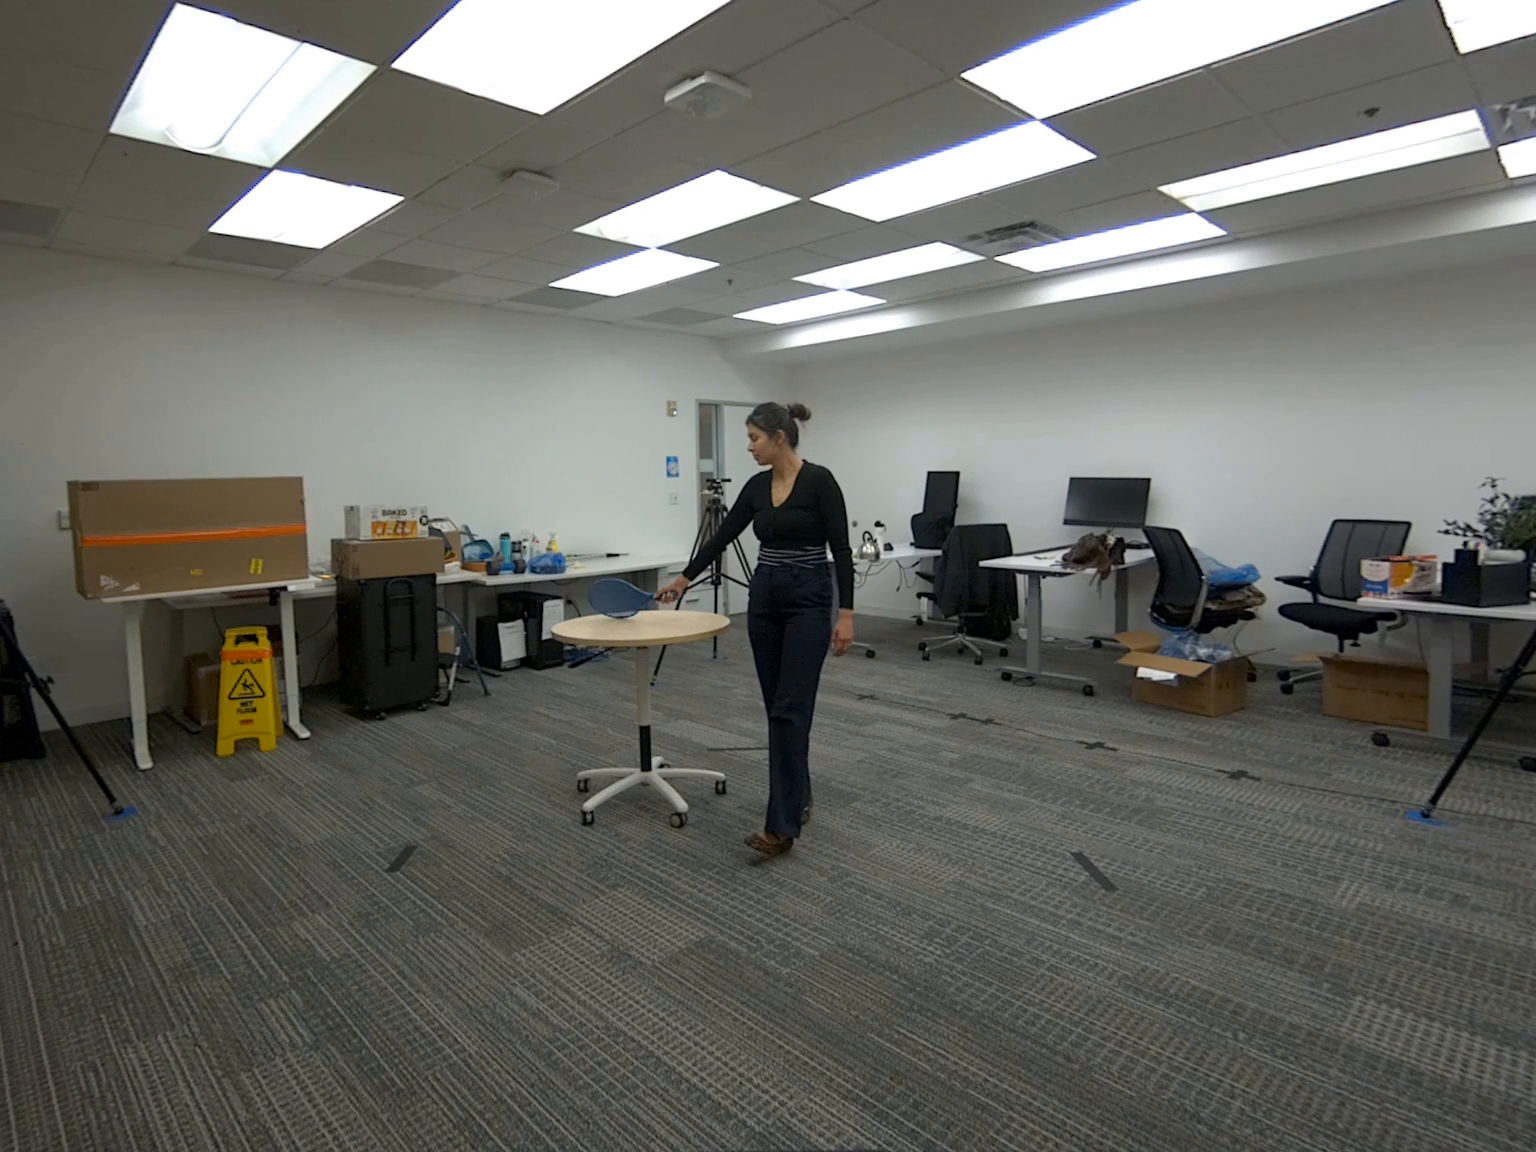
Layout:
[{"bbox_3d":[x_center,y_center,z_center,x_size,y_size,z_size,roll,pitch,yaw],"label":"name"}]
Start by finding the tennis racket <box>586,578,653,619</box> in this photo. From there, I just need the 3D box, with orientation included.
[{"bbox_3d":[-0.592,0.102,3.763,0.440,0.208,0.032,-1,30,19],"label":"tennis racket"}]
